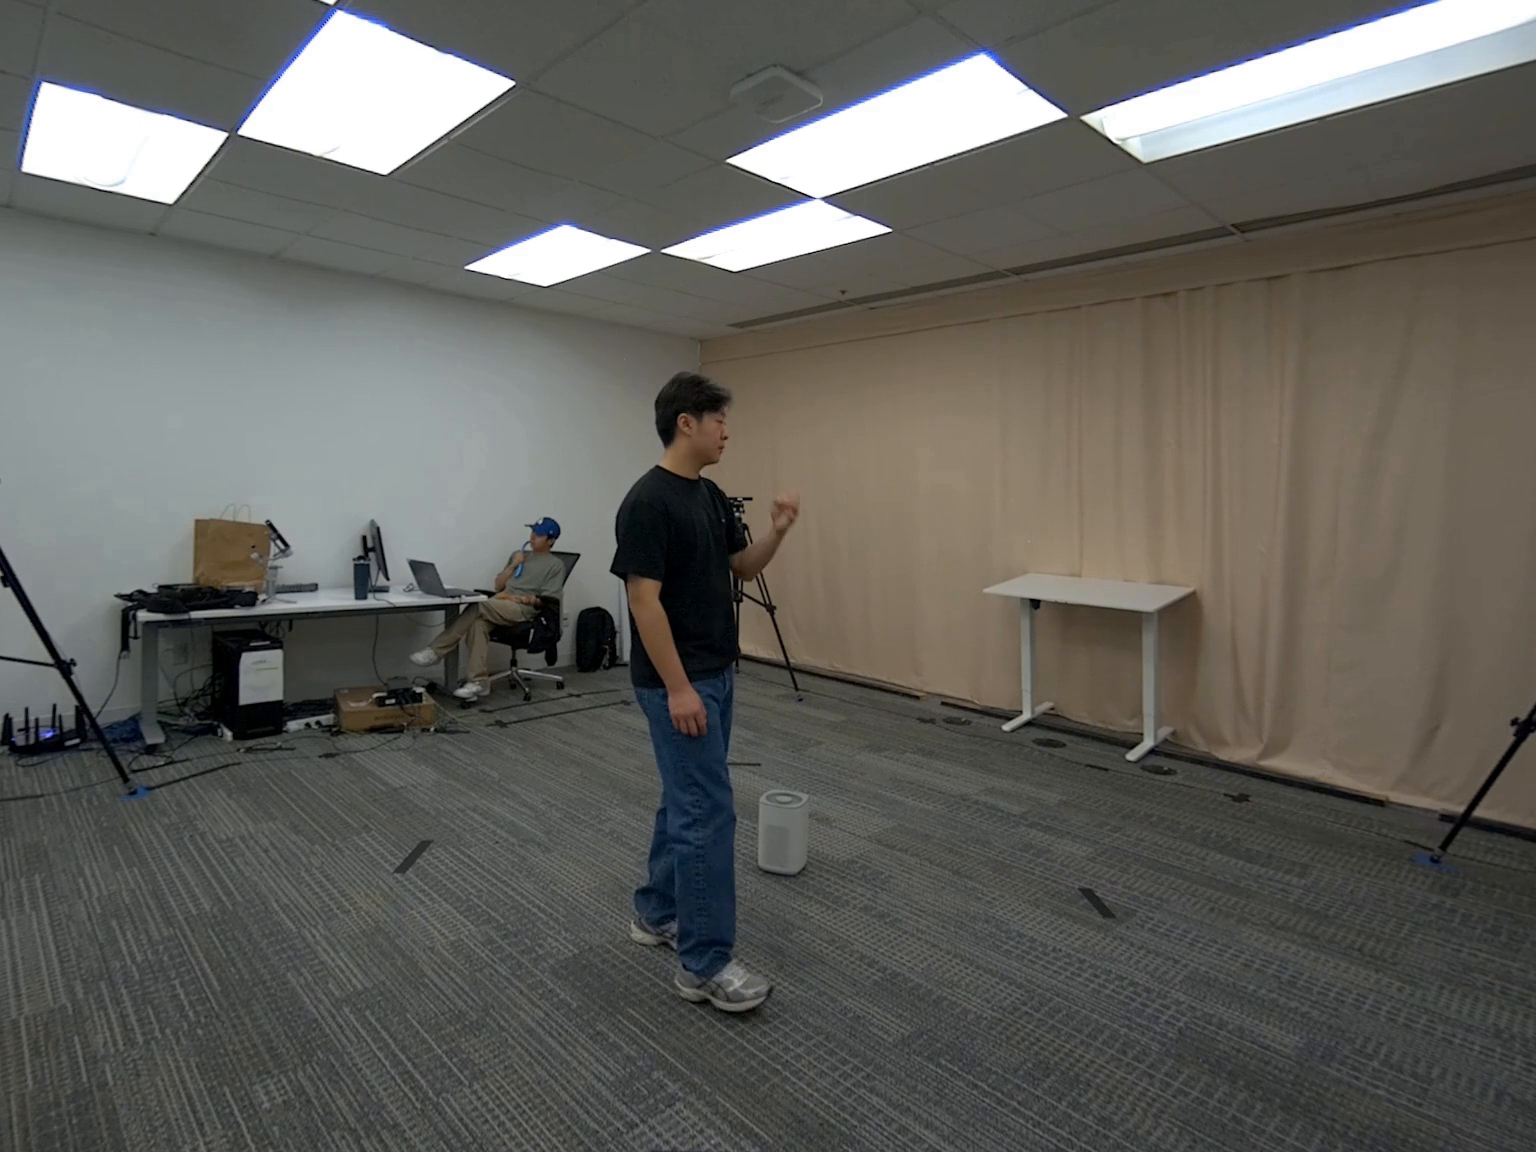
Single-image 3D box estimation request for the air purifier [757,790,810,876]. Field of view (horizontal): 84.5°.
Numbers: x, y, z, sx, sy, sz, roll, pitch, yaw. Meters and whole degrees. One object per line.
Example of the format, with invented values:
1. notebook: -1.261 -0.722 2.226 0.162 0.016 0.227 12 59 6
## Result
1. air purifier: 0.049 0.968 3.186 0.174 0.265 0.168 3 4 21
